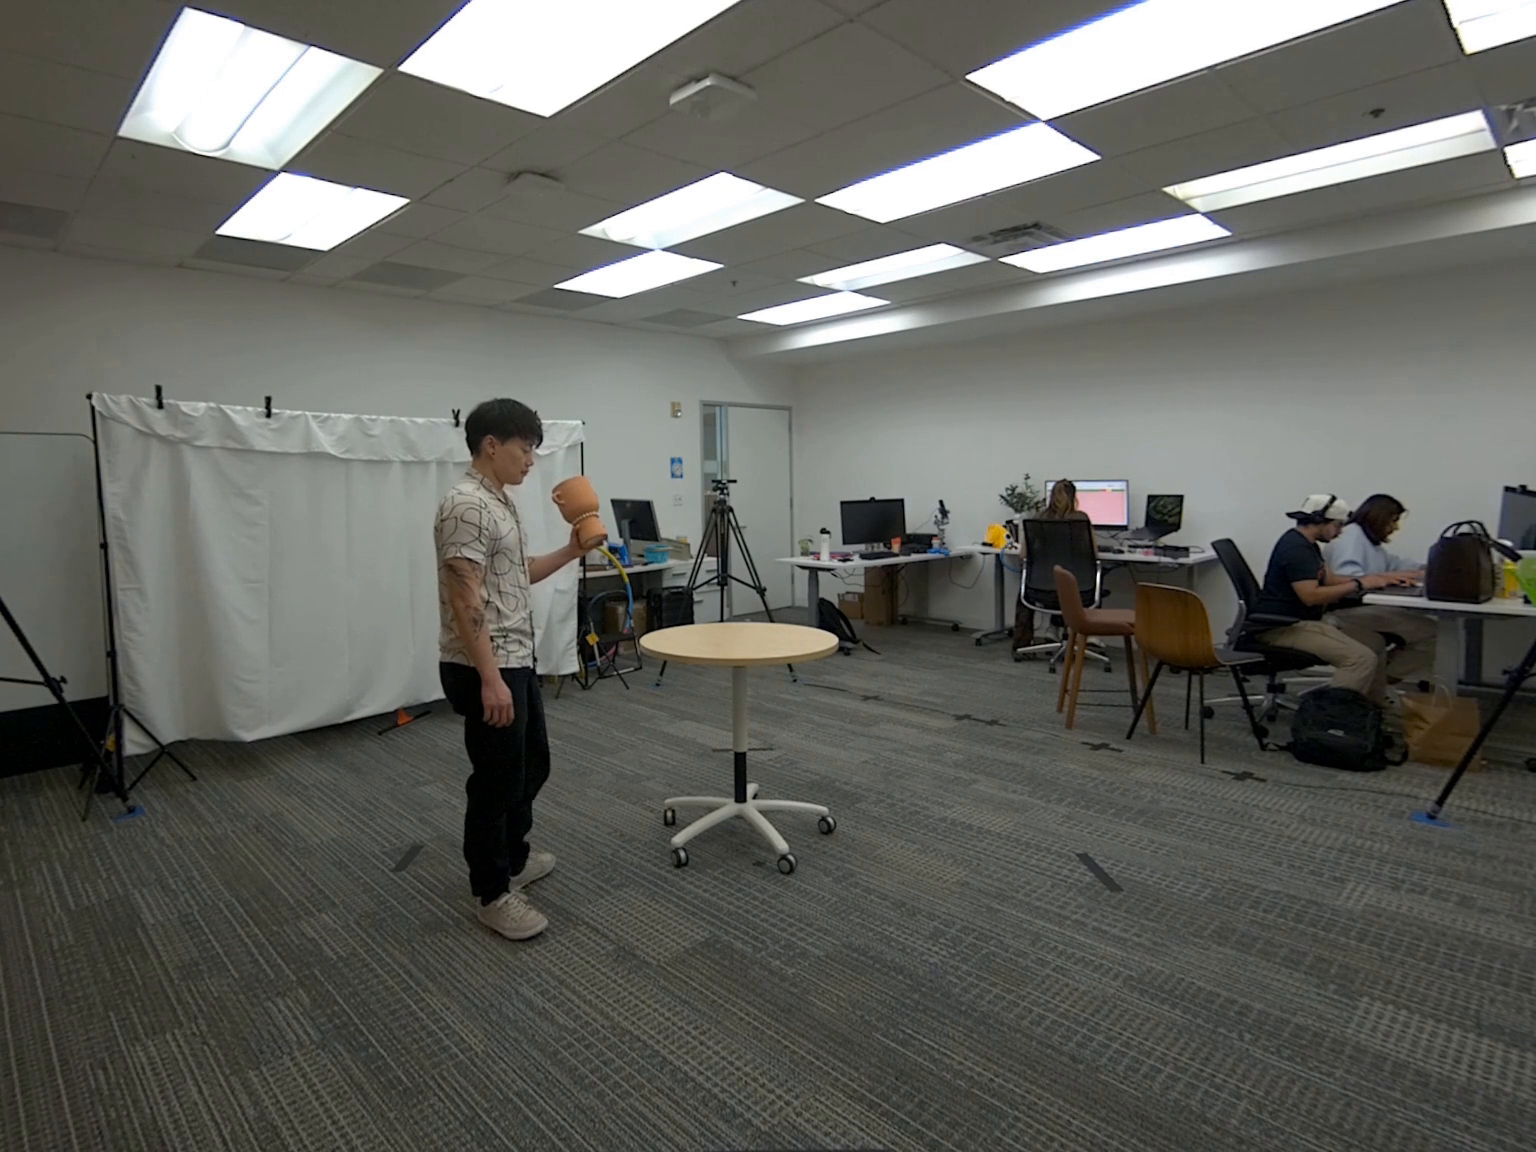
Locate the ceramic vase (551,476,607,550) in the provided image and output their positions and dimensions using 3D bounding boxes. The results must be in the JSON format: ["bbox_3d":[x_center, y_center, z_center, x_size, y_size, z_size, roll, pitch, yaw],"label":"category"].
[{"bbox_3d":[-0.638,-0.215,2.918,0.157,0.223,0.134,-22,-13,-16],"label":"ceramic vase"}]
